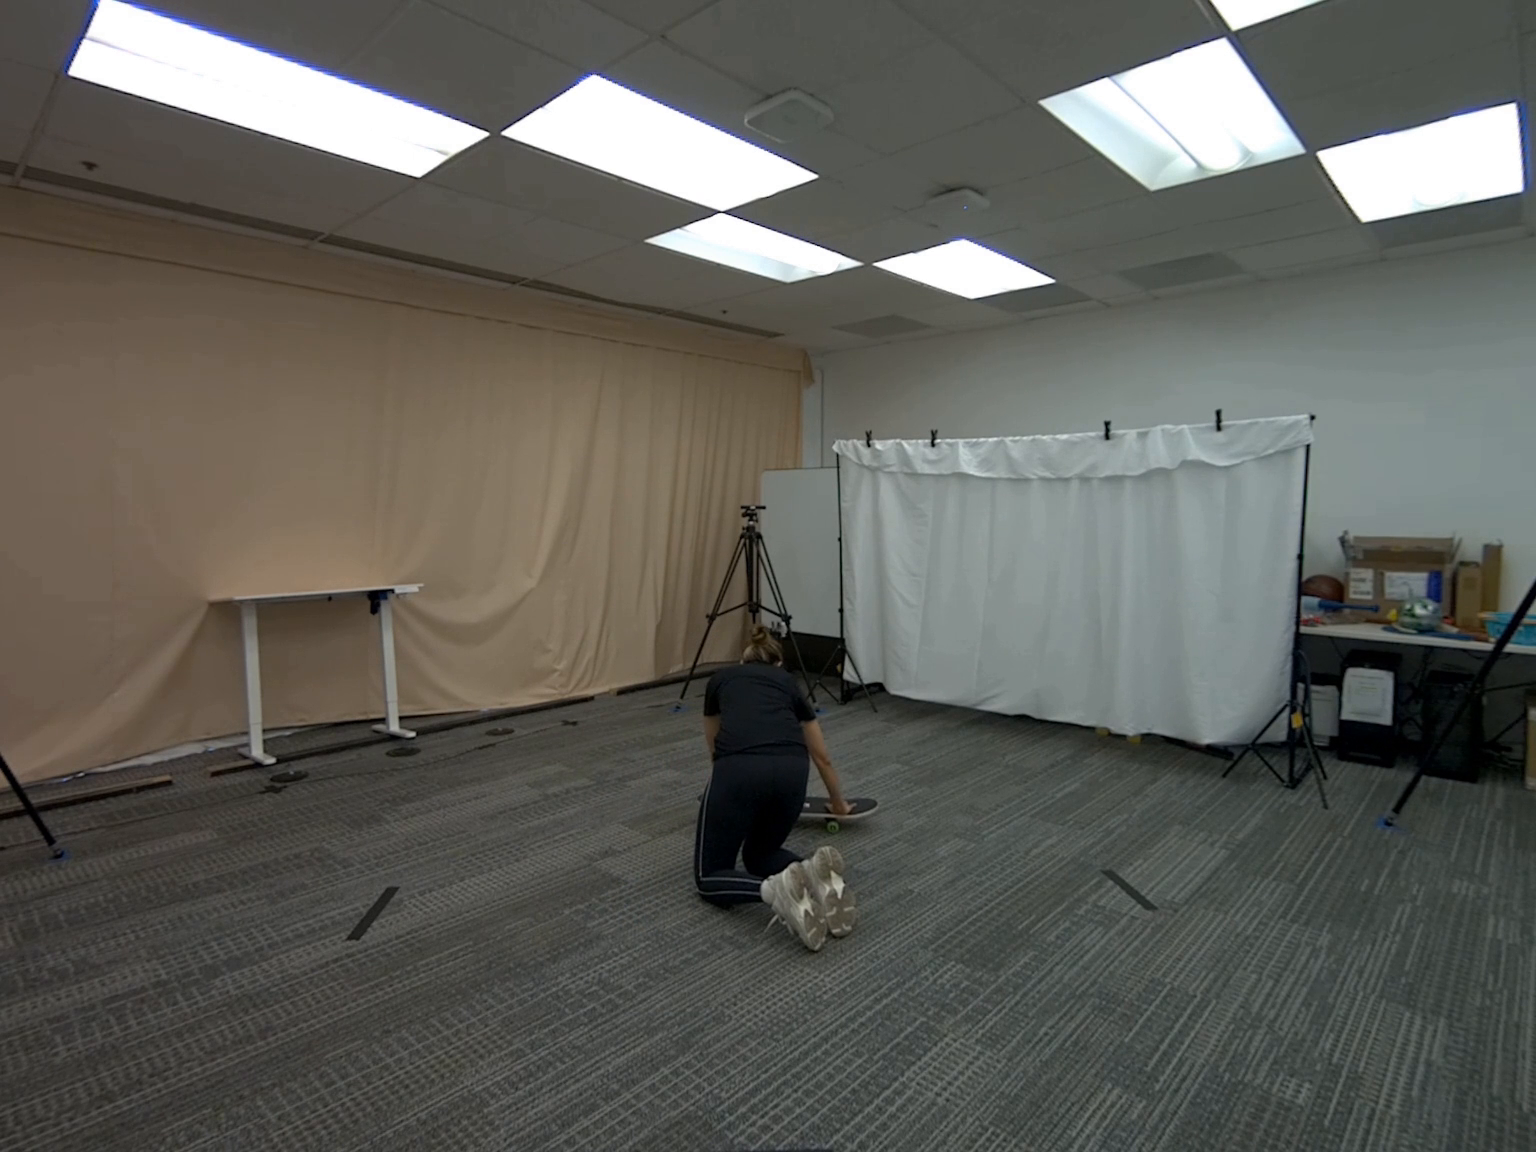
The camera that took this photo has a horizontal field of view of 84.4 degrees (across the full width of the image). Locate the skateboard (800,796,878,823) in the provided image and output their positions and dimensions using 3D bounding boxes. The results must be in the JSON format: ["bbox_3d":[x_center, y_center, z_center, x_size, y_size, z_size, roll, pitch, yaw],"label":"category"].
[{"bbox_3d":[0.085,1.025,3.671,0.791,0.110,0.193,0,5,6],"label":"skateboard"}]
